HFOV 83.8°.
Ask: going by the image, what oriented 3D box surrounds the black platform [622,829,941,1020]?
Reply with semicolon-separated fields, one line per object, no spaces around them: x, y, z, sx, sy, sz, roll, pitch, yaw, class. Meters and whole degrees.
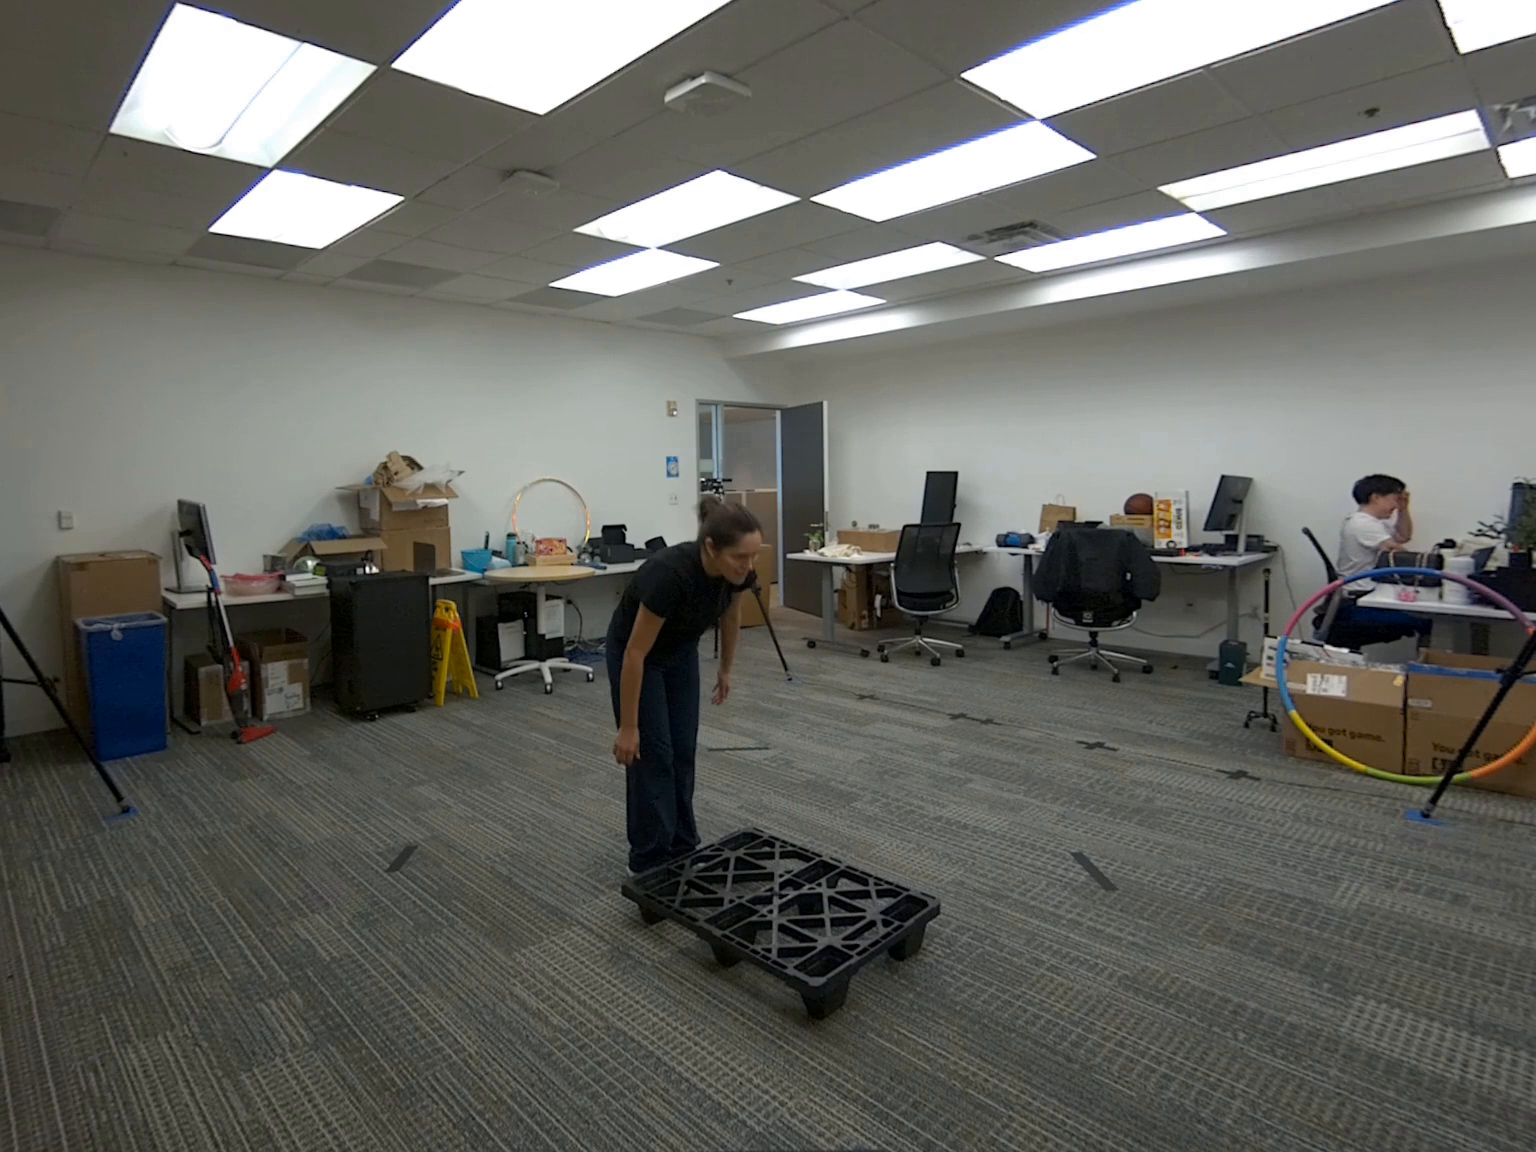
0.029;1.034;2.635;0.831;0.143;0.589;6;9;44;black platform
